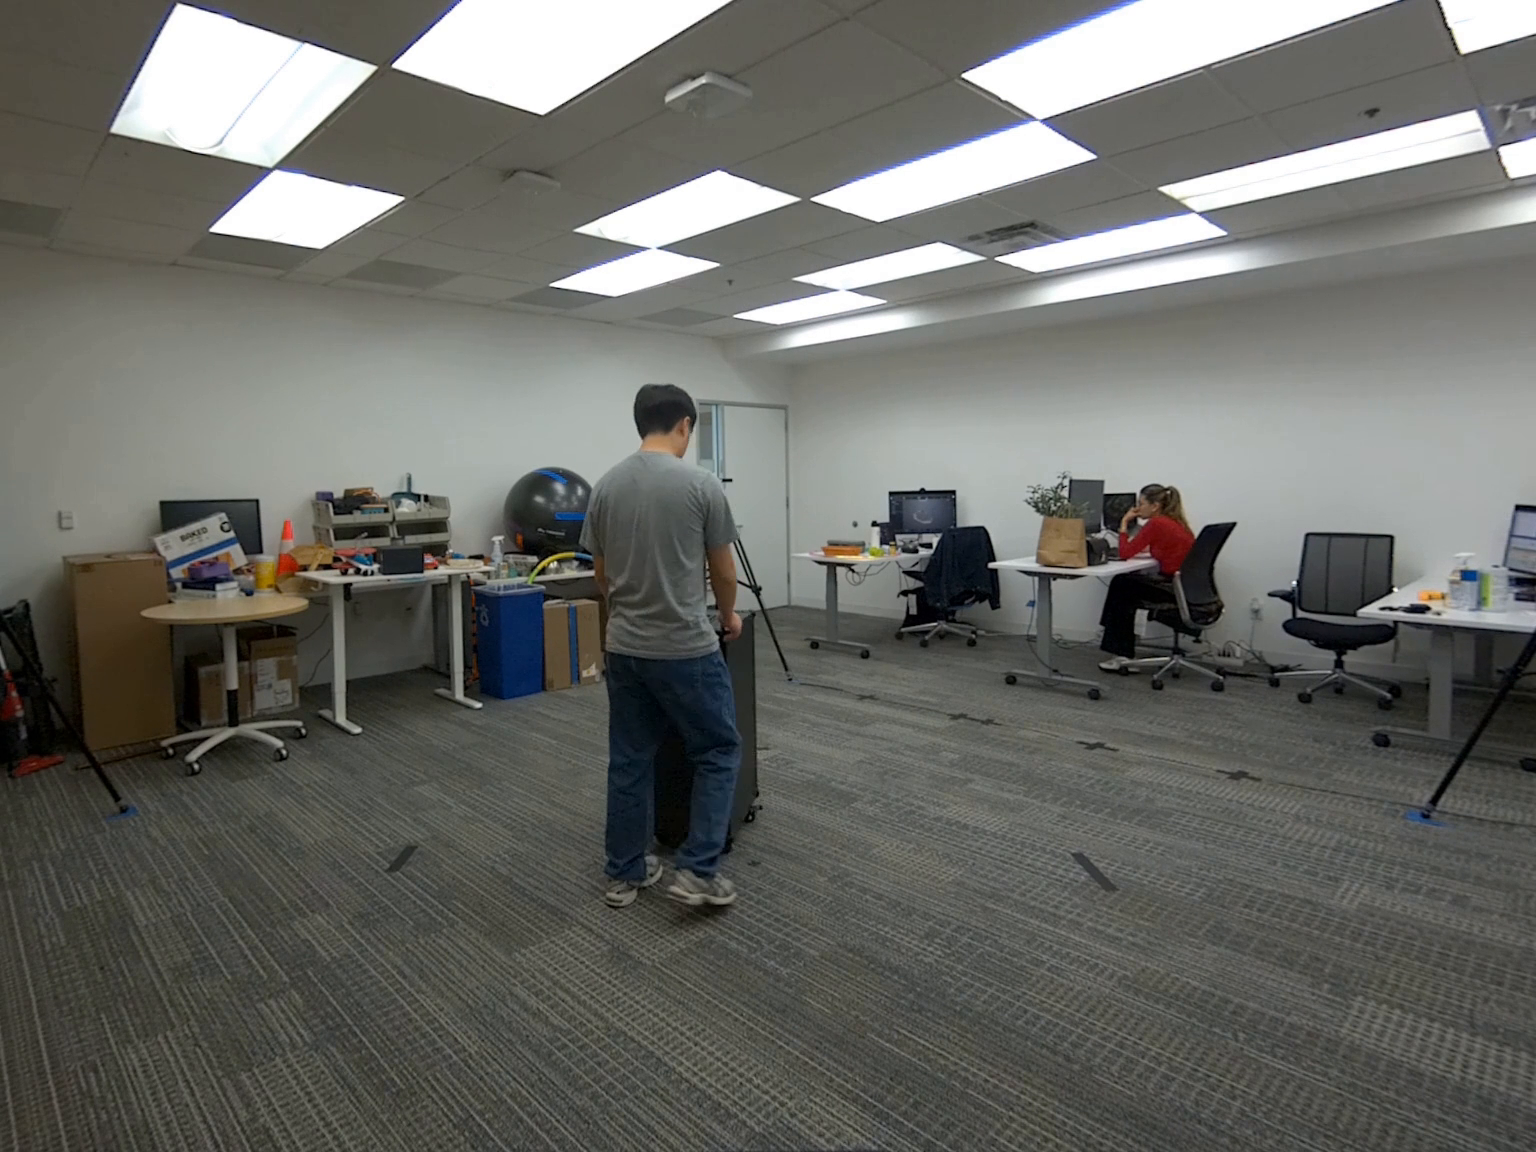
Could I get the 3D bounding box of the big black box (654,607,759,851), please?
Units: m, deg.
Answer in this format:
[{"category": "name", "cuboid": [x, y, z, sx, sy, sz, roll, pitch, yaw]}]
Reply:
[{"category": "big black box", "cuboid": [-0.271, 0.597, 3.369, 0.402, 0.859, 0.515, -1, 4, 14]}]
